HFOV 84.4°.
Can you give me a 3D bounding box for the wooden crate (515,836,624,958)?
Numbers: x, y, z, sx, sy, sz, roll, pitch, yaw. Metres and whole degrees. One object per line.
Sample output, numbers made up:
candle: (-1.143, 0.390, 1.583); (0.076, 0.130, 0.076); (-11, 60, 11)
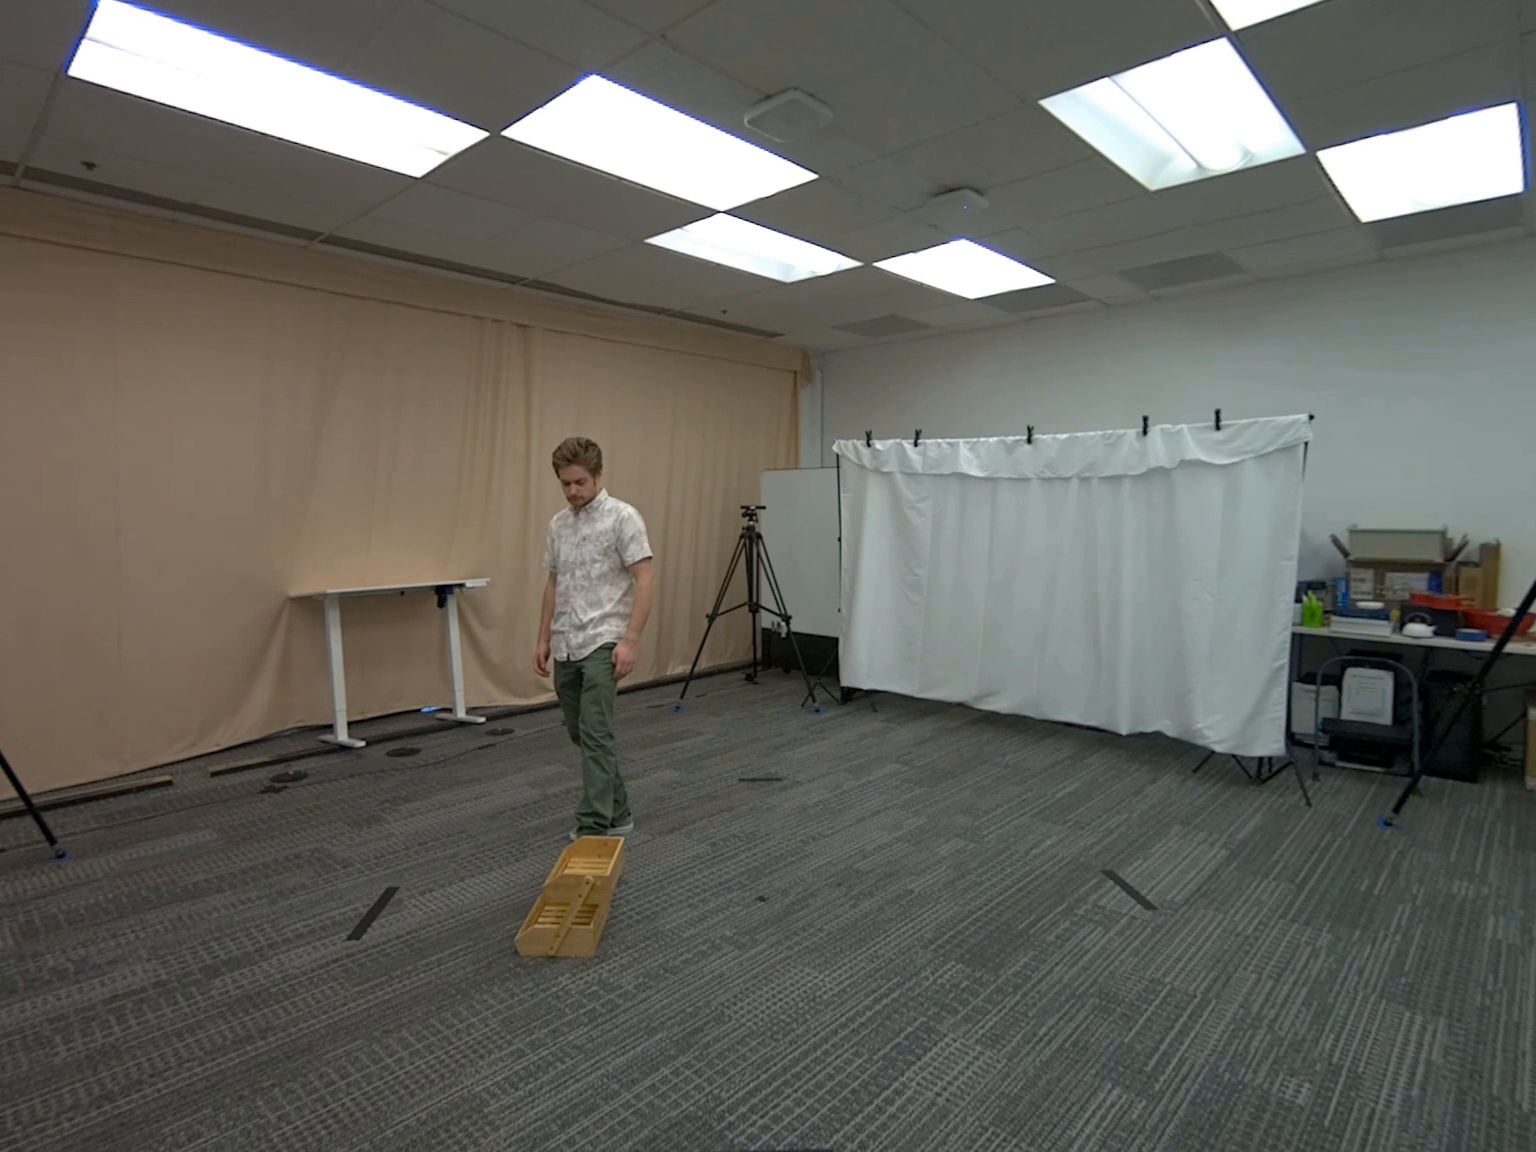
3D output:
wooden crate: (-0.648, 1.036, 2.750); (0.302, 0.273, 0.325); (0, 4, 0)
